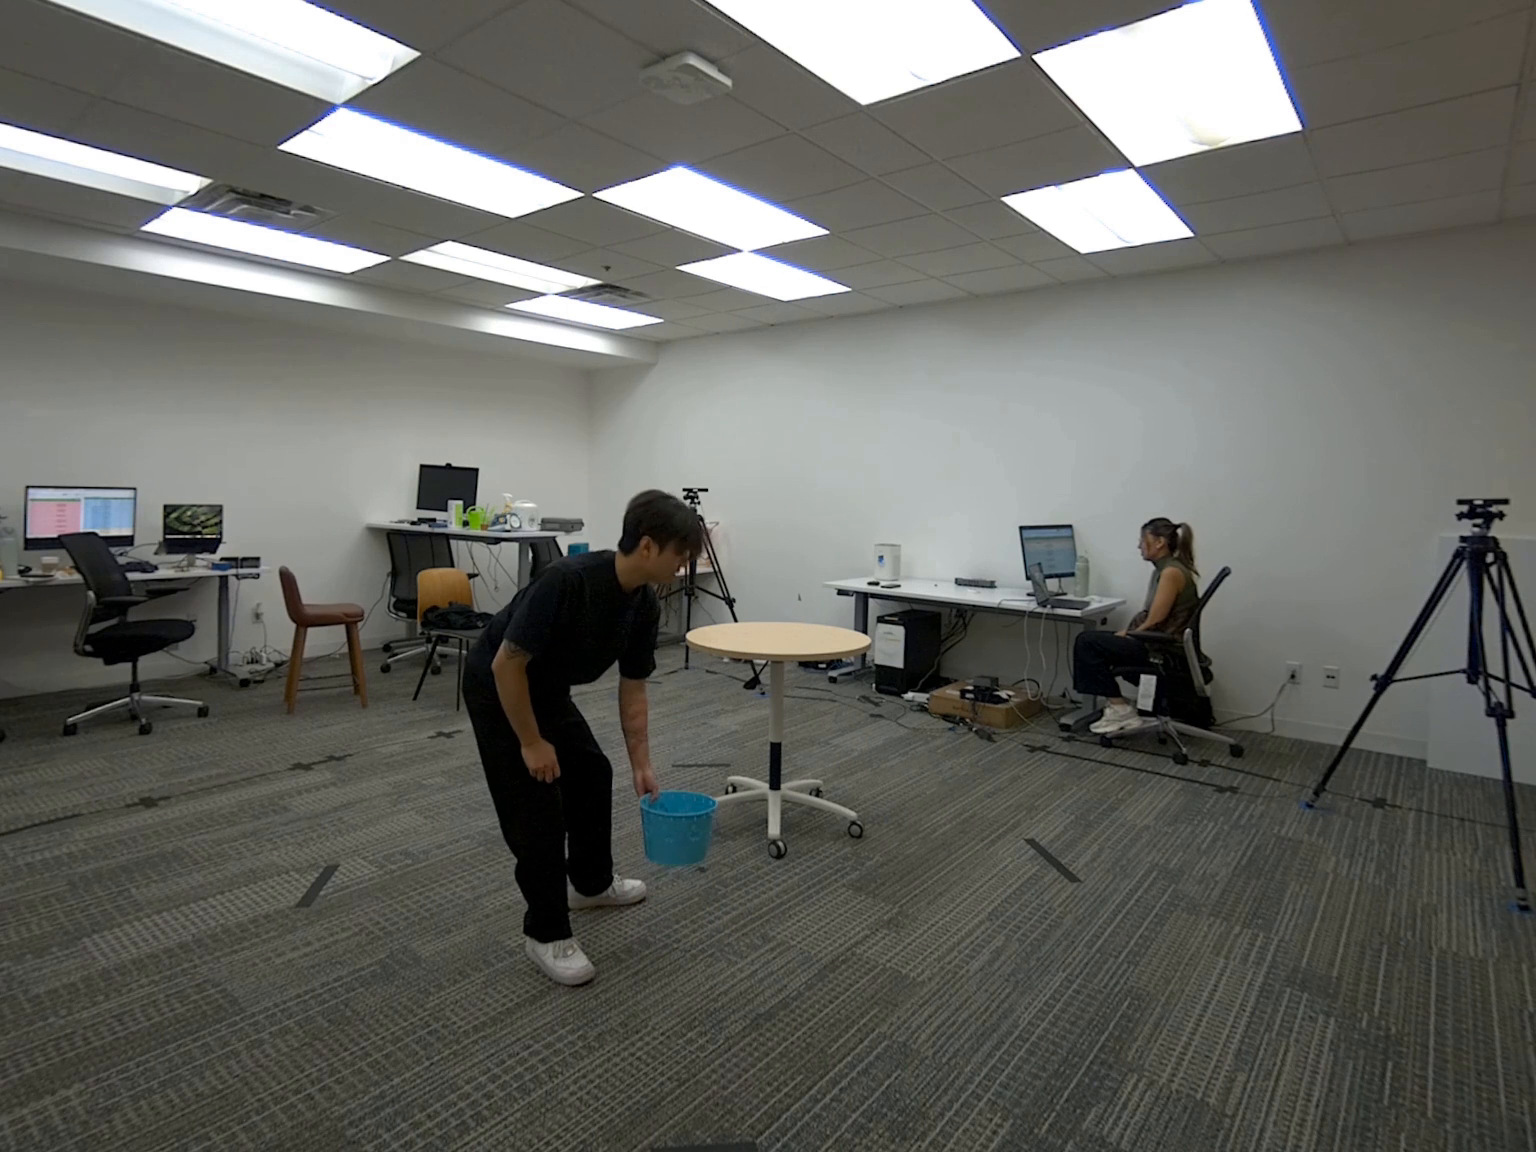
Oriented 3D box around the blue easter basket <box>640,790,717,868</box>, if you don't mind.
[{"bbox_3d":[-0.269,0.738,2.461,0.243,0.156,0.244,2,3,-2],"label":"blue easter basket"}]
